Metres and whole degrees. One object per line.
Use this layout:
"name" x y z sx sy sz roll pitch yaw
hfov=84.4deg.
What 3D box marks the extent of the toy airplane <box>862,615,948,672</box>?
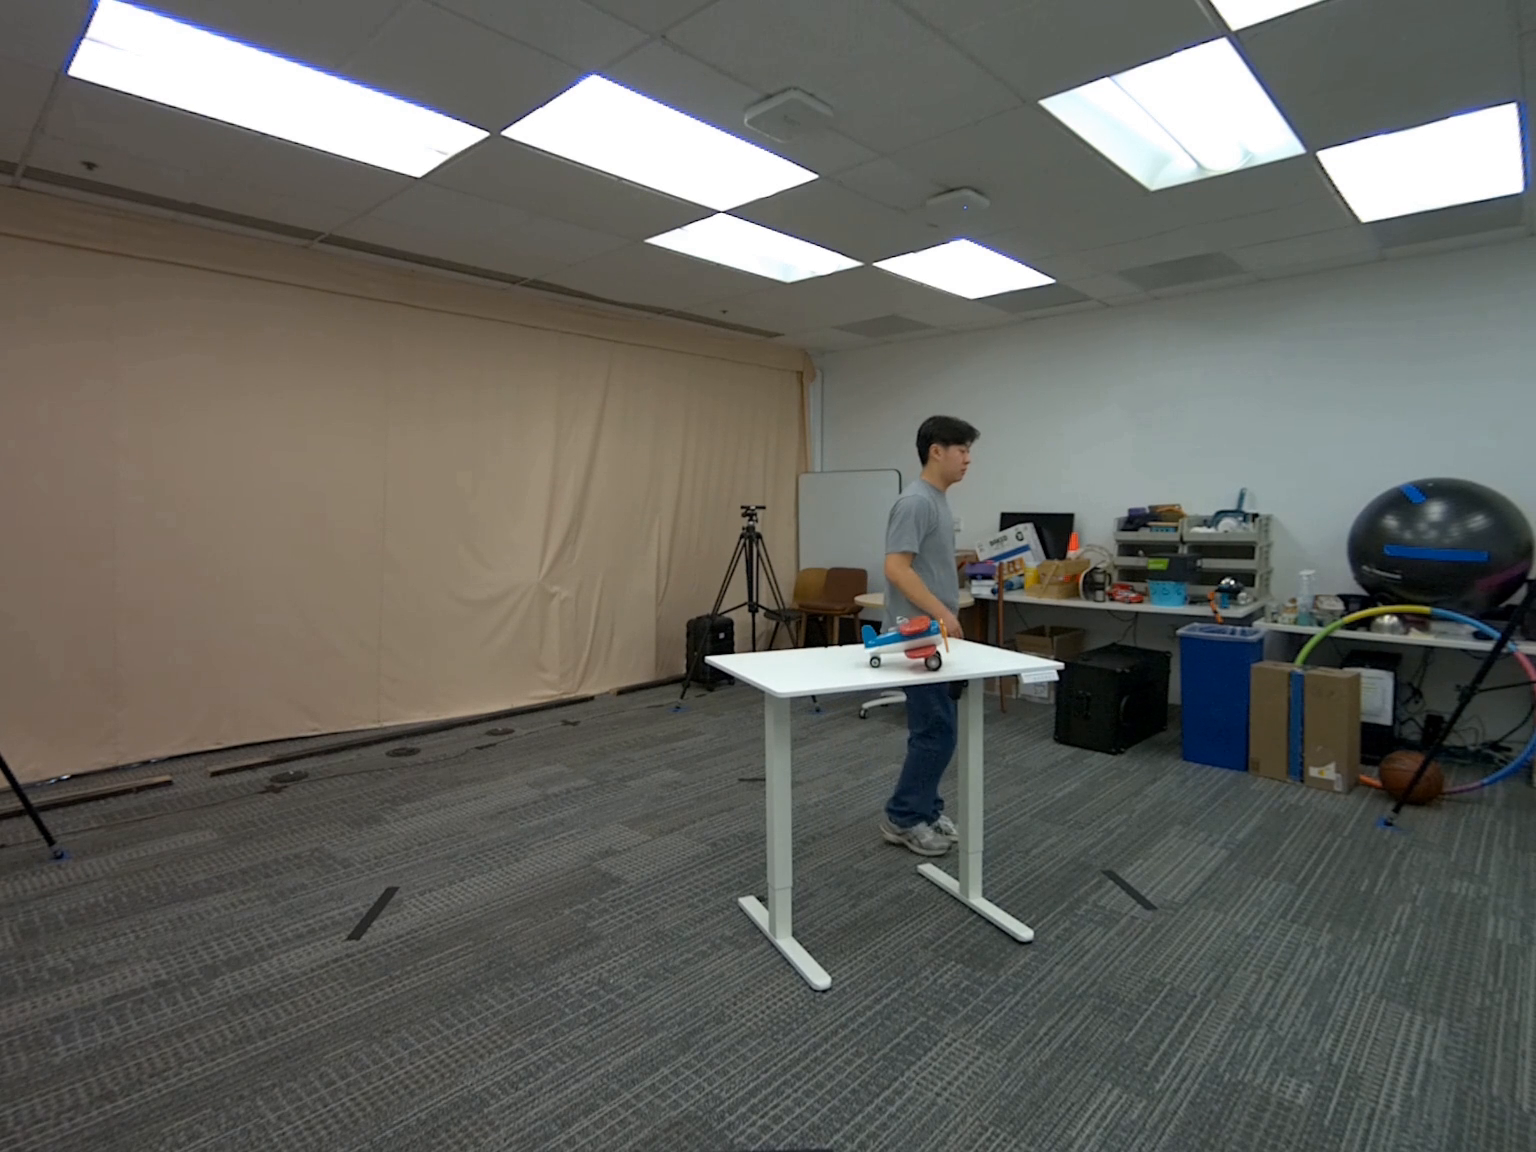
"toy airplane" 0.437 0.212 2.618 0.255 0.156 0.255 0 3 -16
